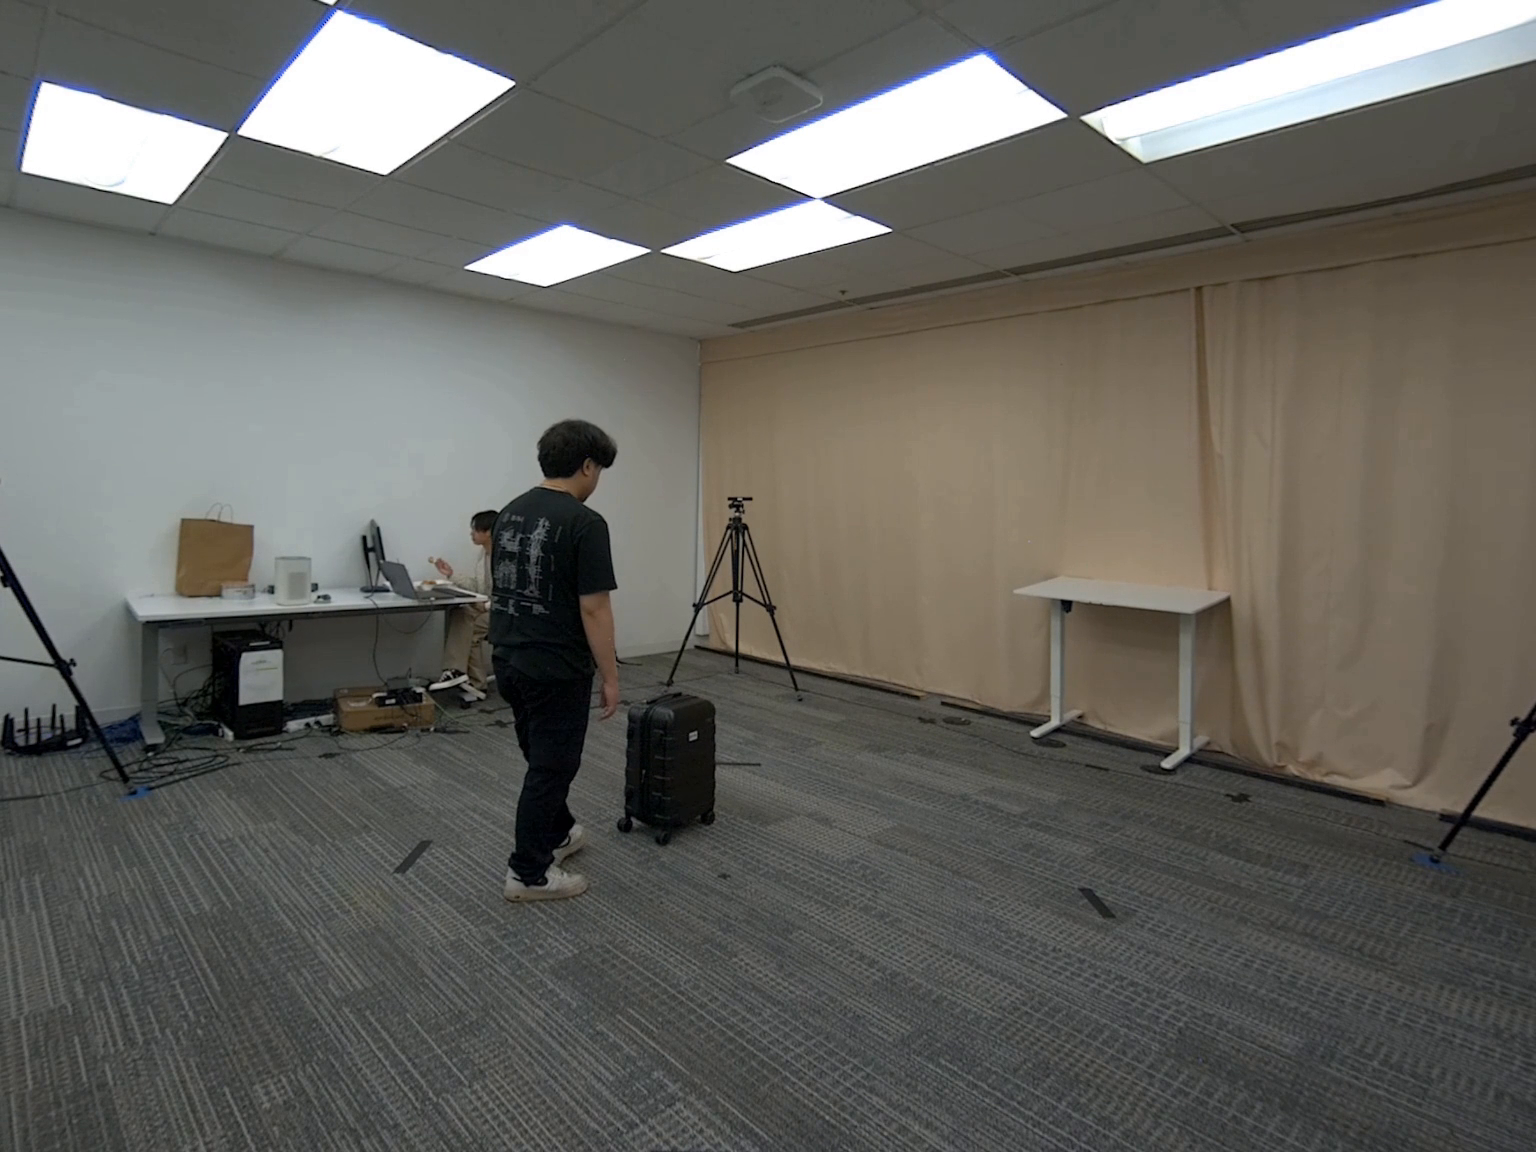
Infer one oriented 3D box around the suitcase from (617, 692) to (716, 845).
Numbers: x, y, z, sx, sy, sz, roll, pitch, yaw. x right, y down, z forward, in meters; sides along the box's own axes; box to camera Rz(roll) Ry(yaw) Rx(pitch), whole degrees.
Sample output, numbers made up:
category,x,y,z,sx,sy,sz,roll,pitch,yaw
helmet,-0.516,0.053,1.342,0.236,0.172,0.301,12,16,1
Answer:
category,x,y,z,sx,sy,sz,roll,pitch,yaw
suitcase,-0.419,0.786,3.565,0.254,0.549,0.367,4,2,34
